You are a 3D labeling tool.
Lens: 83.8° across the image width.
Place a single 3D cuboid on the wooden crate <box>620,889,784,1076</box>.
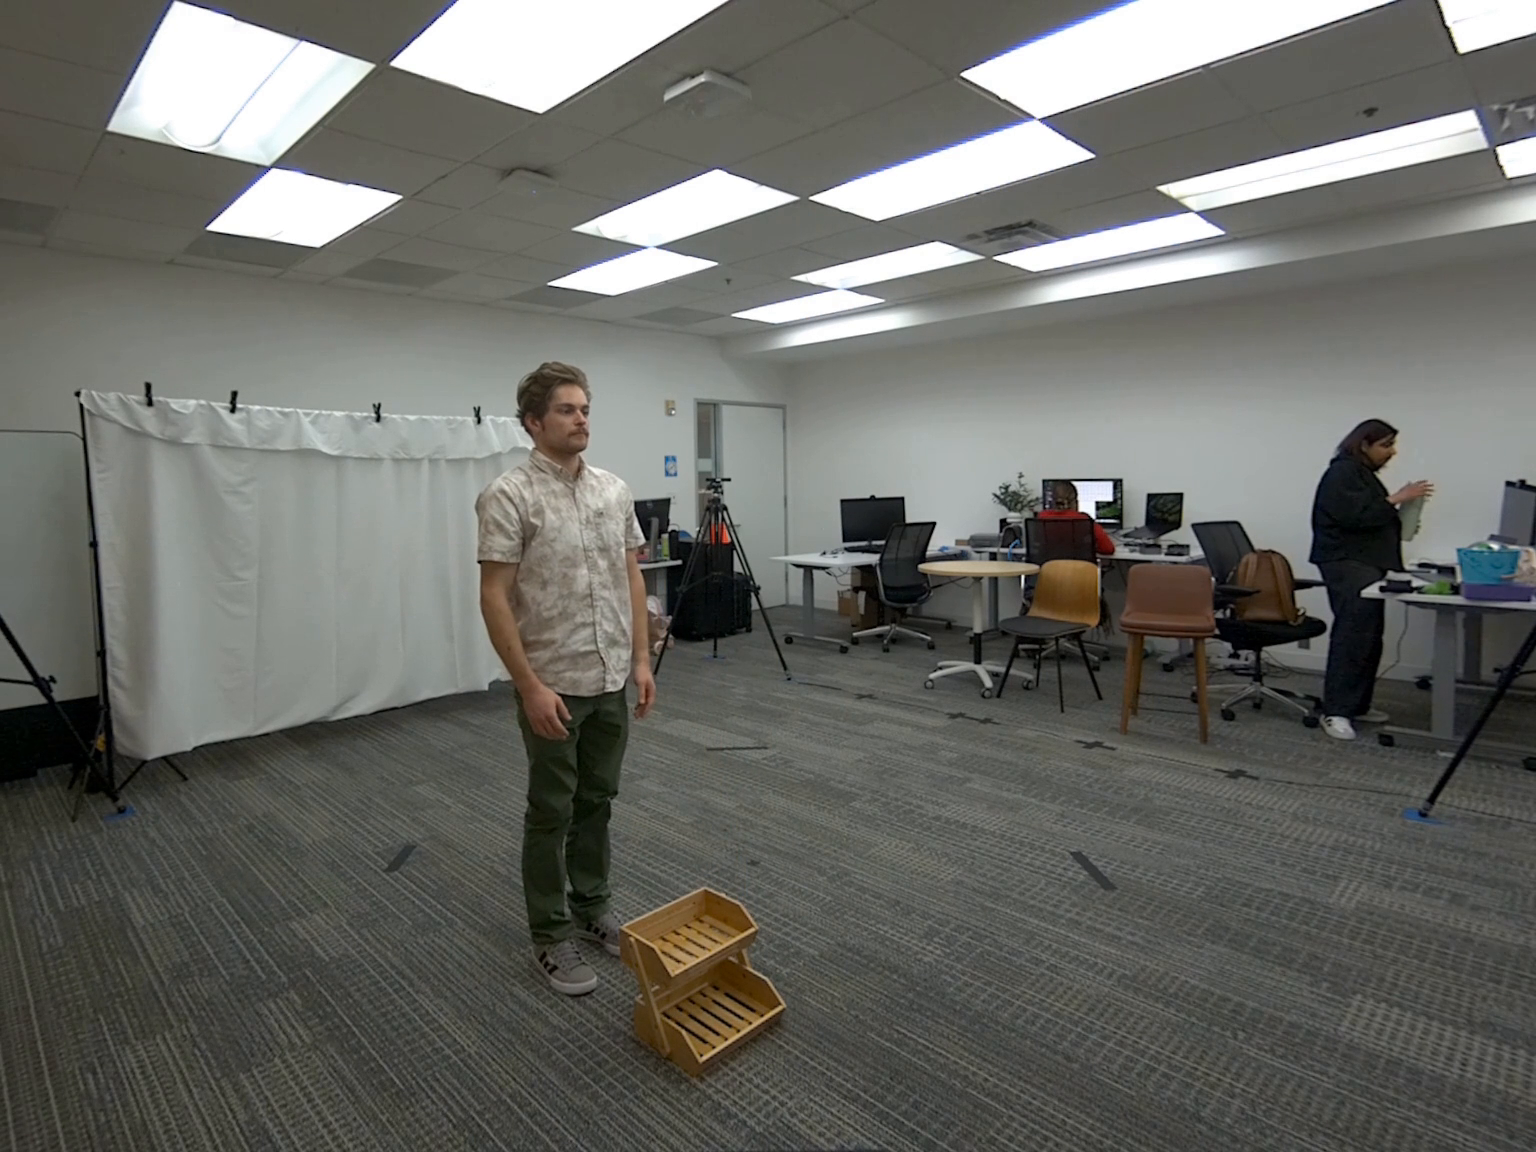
[{"bbox_3d":[-0.163,1.023,2.186,0.311,0.272,0.316,3,6,44],"label":"wooden crate"}]
